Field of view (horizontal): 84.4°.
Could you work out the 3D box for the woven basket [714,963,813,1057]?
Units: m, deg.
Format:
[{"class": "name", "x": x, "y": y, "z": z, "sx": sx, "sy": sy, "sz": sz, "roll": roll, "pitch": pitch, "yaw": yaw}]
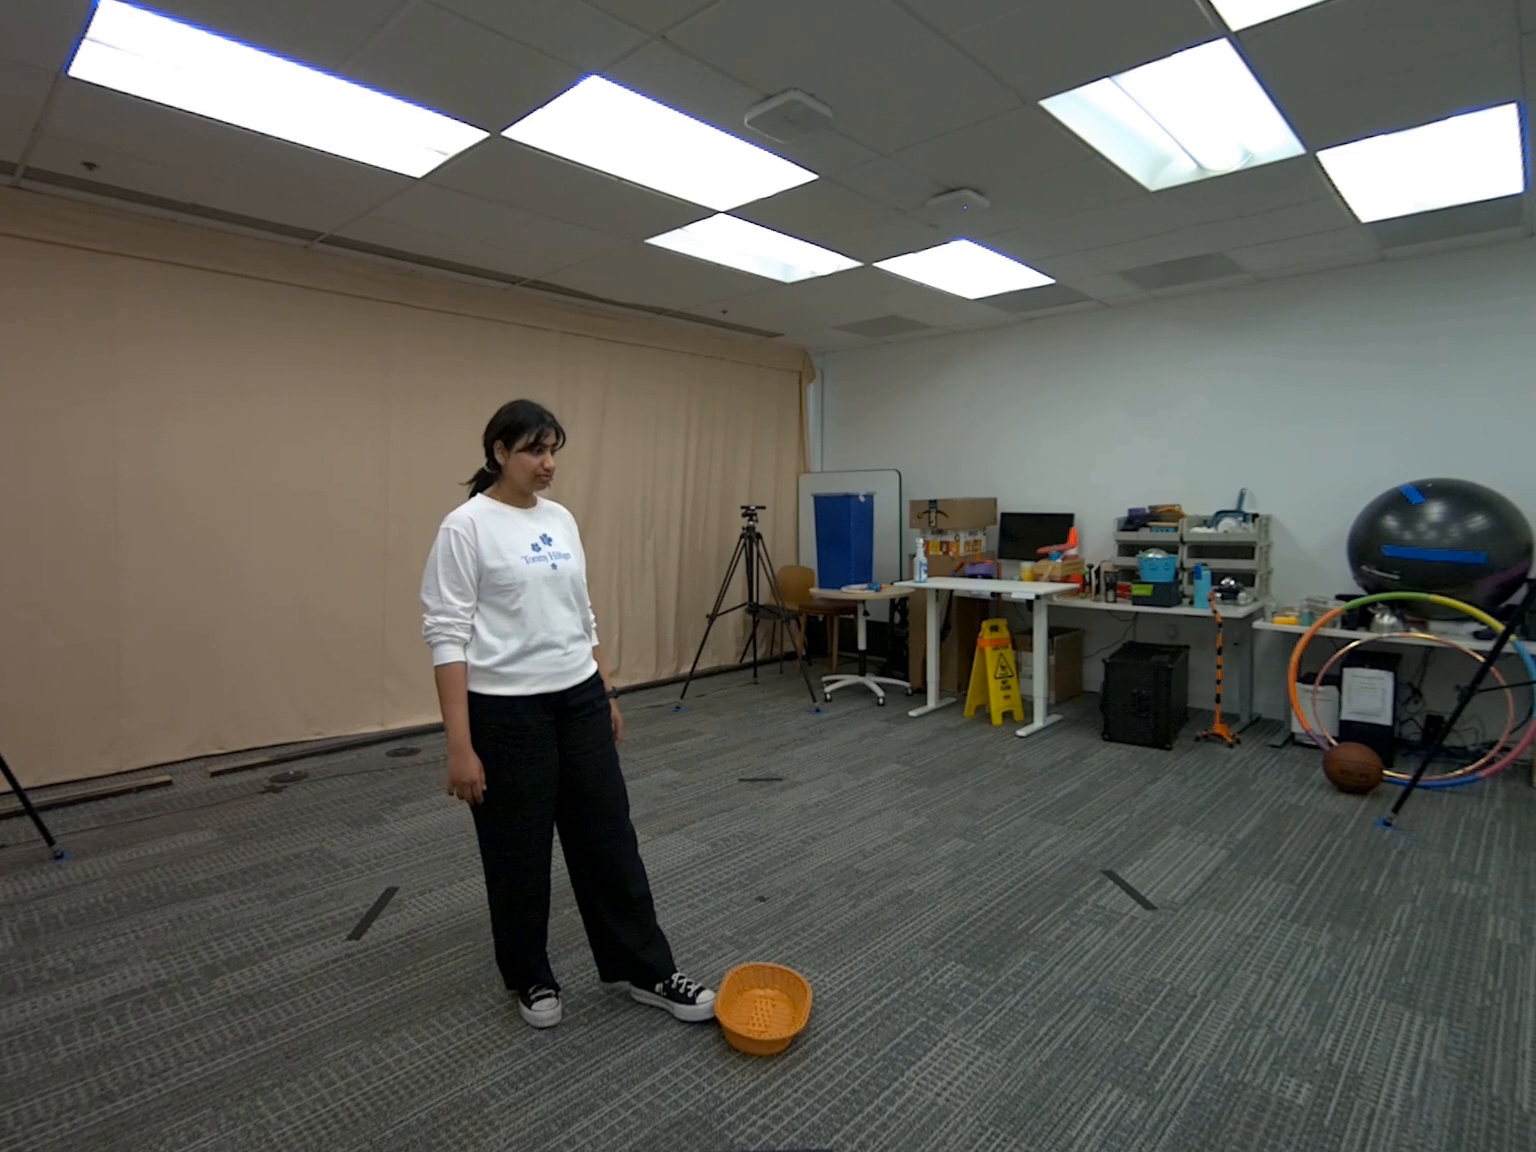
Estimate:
[{"class": "woven basket", "x": -0.007, "y": 1.165, "z": 2.254, "sx": 0.256, "sy": 0.073, "sz": 0.347, "roll": 4, "pitch": 5, "yaw": 10}]
